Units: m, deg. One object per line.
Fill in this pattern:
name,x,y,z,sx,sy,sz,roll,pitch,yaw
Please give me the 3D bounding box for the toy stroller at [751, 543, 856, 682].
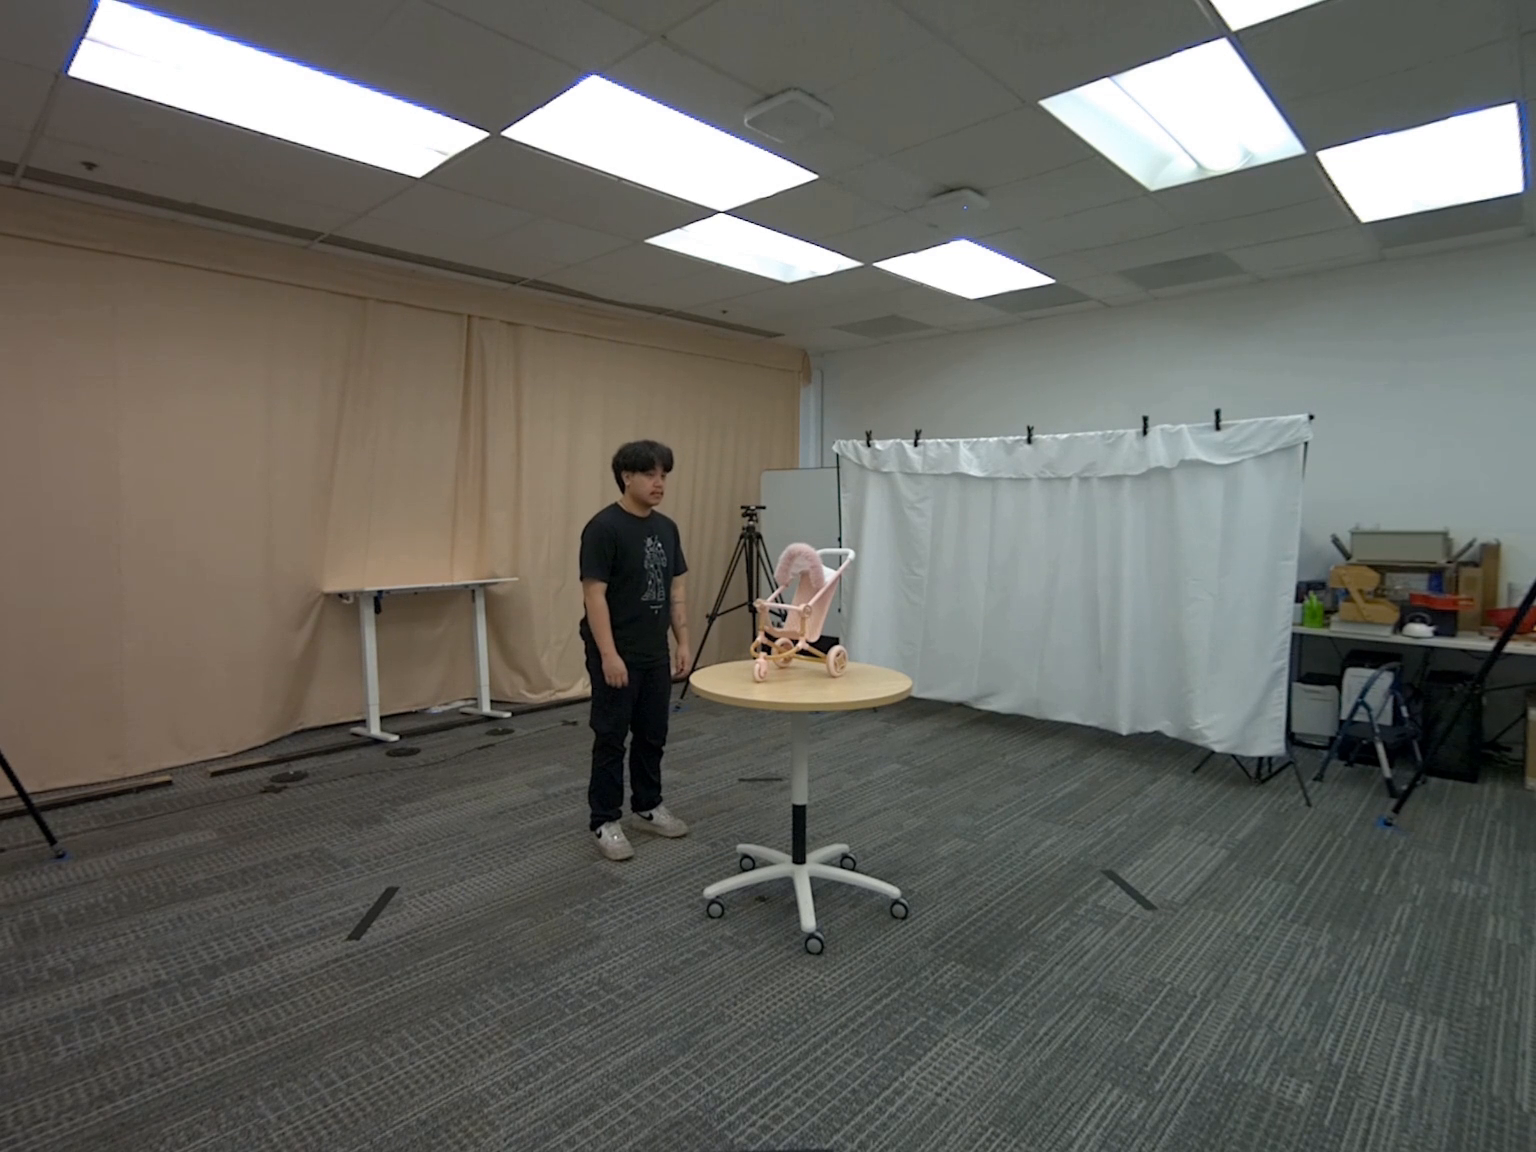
toy stroller,0.111,0.126,2.978,0.329,0.536,0.291,17,-9,-41
